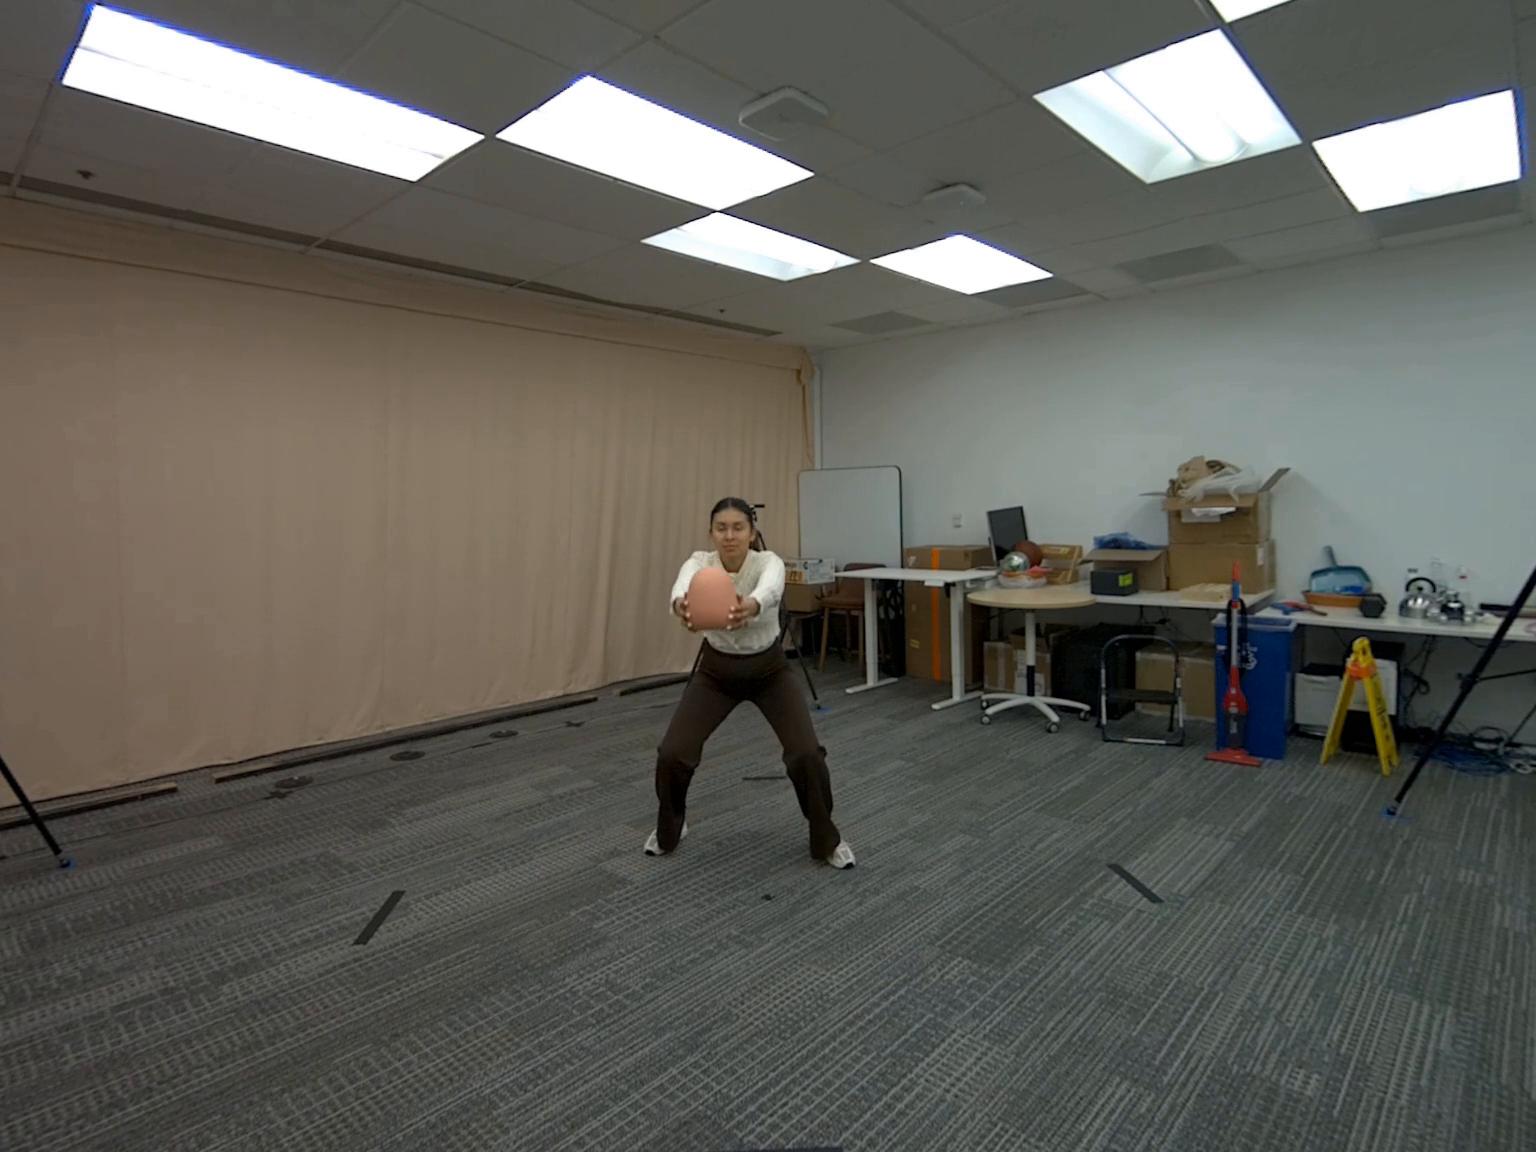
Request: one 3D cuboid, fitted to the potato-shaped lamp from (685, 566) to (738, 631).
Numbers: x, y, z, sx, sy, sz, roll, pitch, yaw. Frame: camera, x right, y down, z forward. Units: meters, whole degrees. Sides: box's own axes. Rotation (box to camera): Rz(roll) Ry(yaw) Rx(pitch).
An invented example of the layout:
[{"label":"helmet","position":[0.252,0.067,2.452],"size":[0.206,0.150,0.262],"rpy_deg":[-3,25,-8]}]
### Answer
[{"label":"potato-shaped lamp","position":[-0.177,0.068,2.607],"size":[0.166,0.198,0.169],"rpy_deg":[0,-3,8]}]
